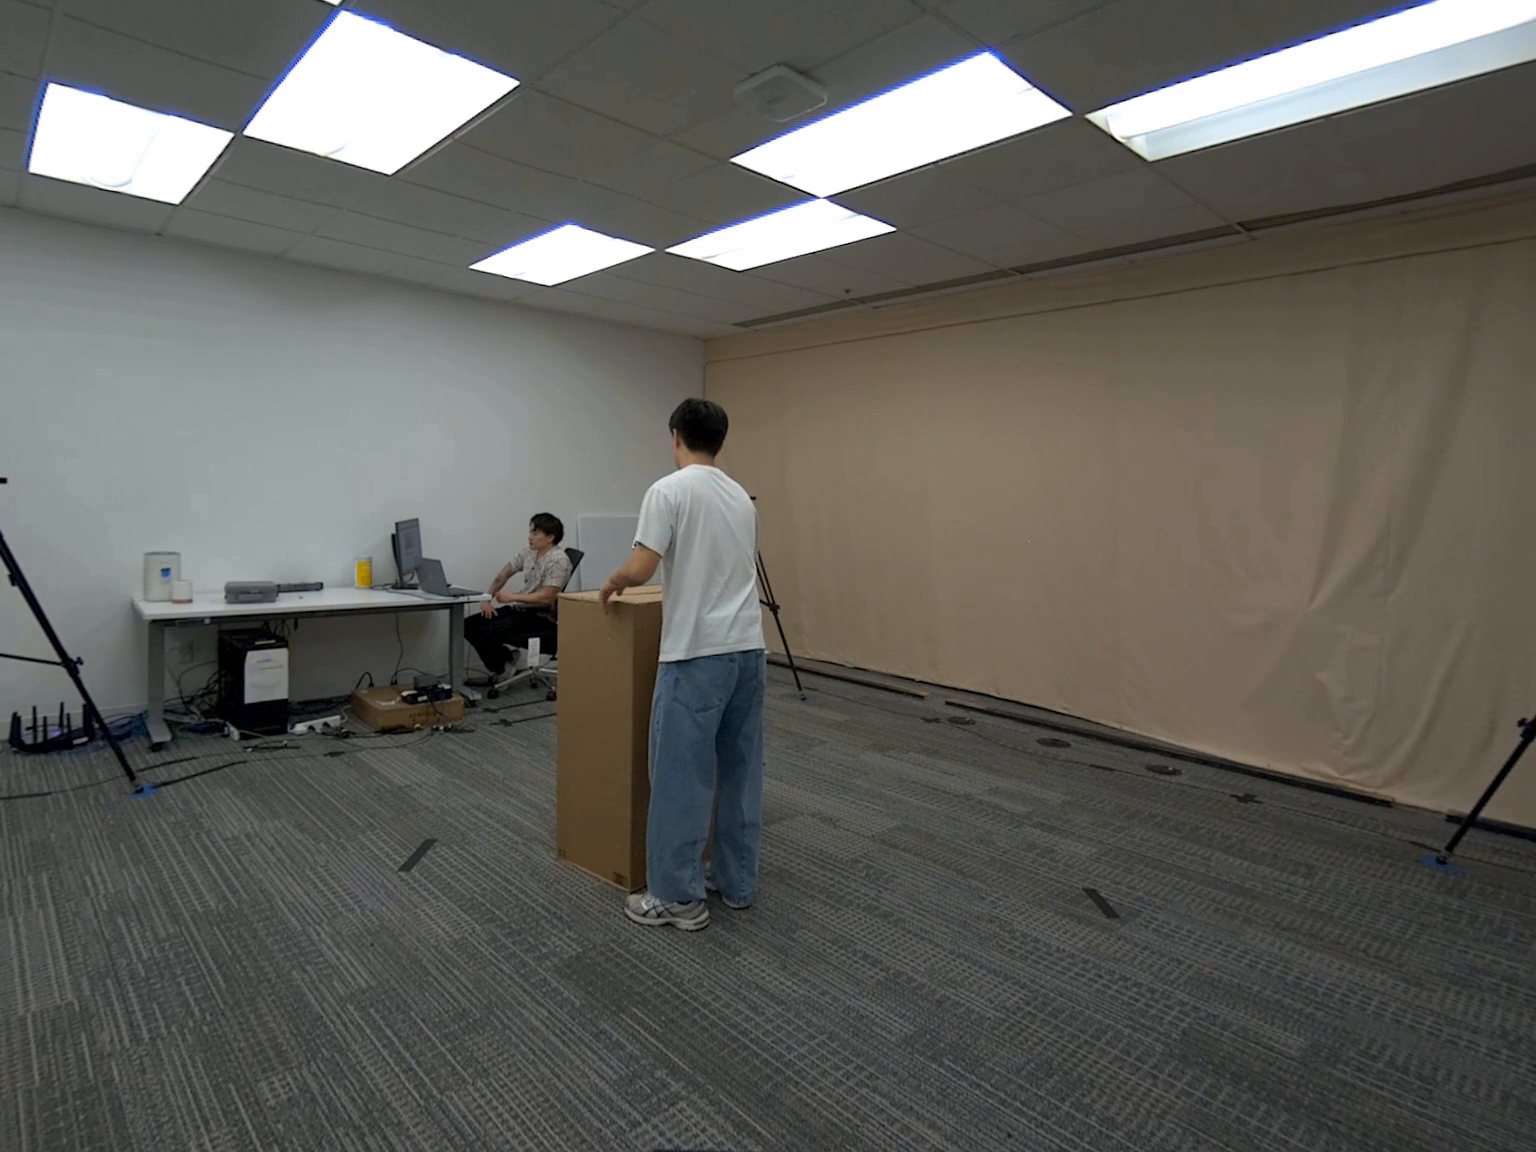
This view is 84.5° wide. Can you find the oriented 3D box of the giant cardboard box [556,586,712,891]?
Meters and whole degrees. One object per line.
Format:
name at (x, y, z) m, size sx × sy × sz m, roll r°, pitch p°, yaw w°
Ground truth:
giant cardboard box at (-0.472, 0.572, 3.272) m, size 0.437 × 1.023 × 0.564 m, roll 4°, pitch 5°, yaw 40°
